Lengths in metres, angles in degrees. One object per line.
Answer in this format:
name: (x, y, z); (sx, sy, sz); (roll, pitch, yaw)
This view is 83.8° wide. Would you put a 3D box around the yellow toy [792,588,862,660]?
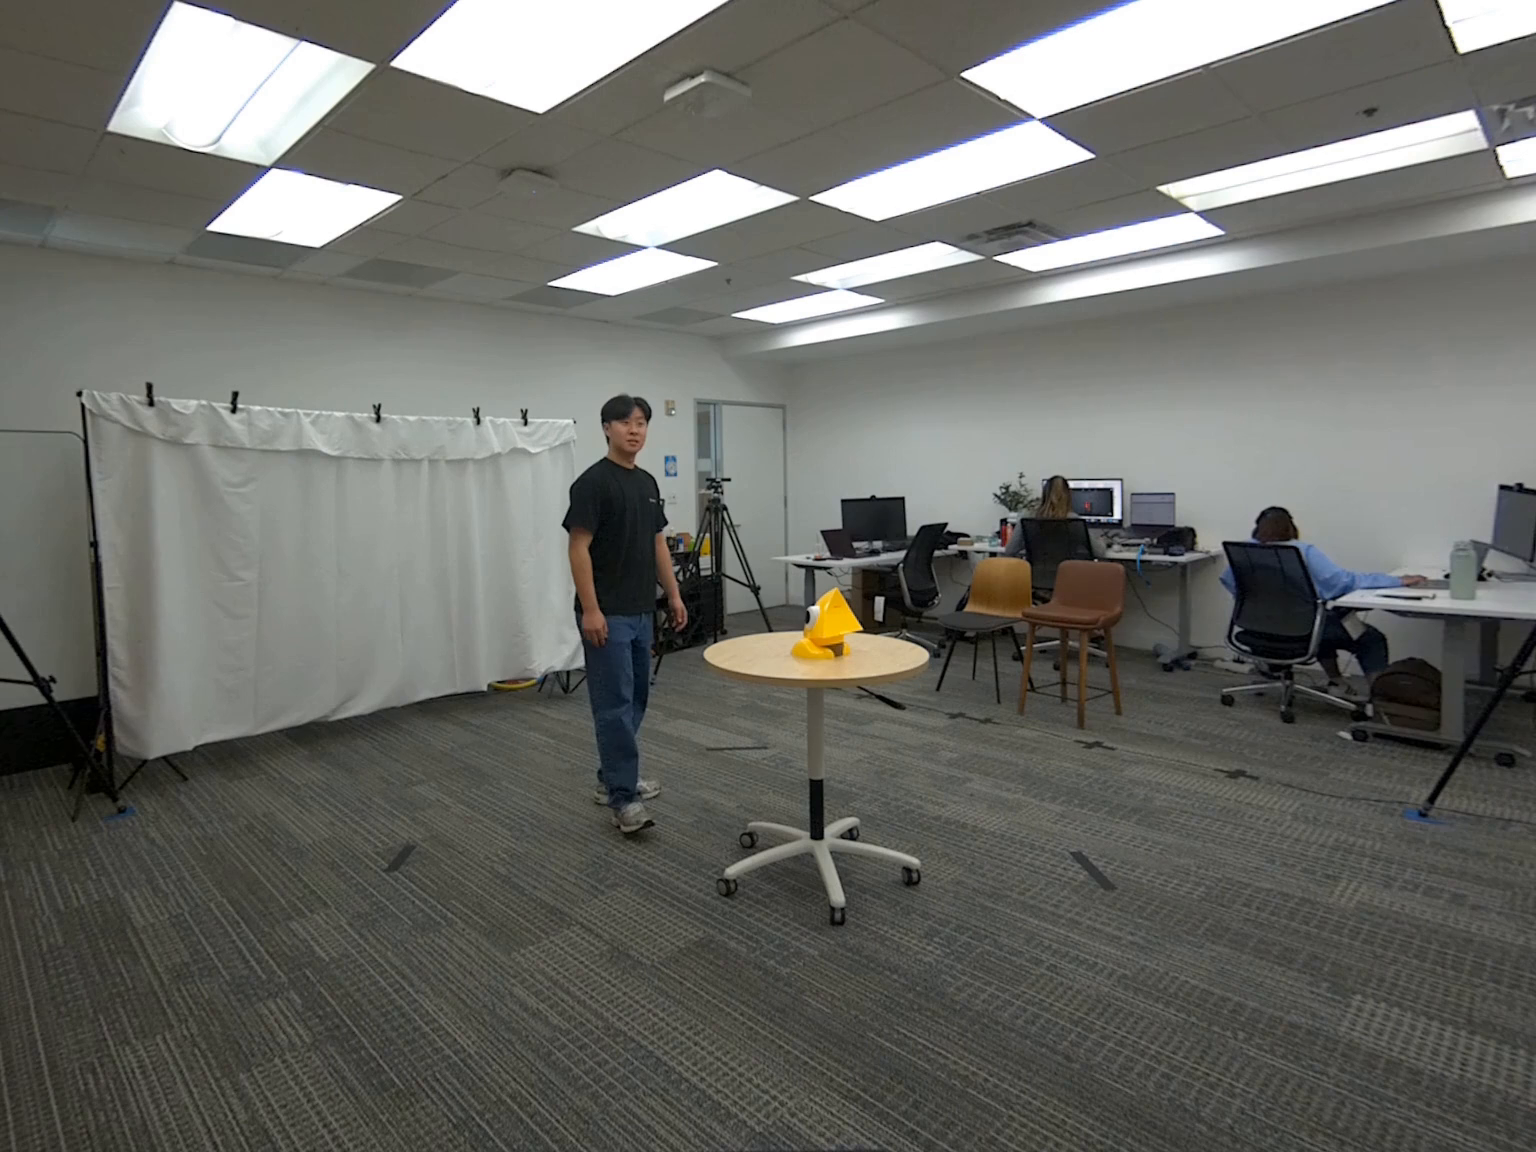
yellow toy: (0.195, 0.150, 2.906); (0.199, 0.230, 0.199); (-6, 7, -44)
